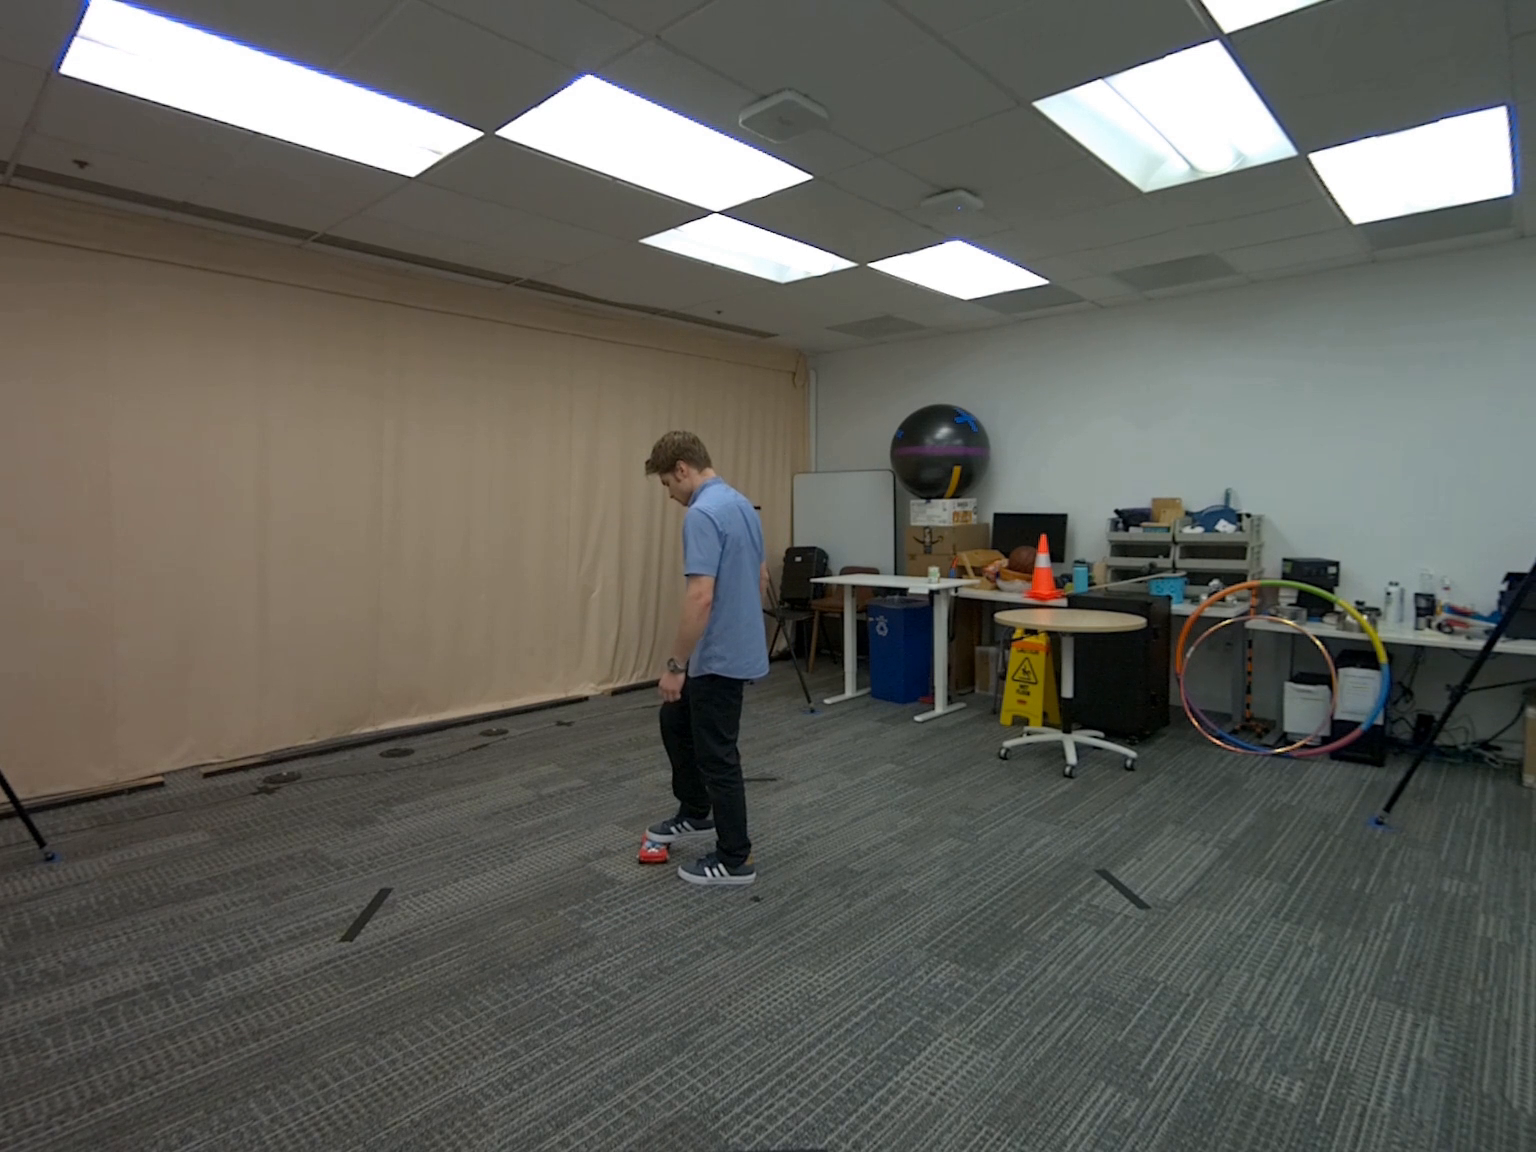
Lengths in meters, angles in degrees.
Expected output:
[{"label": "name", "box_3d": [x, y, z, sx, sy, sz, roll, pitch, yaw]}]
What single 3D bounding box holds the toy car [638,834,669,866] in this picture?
[{"label": "toy car", "box_3d": [-0.469, 1.084, 3.384, 0.130, 0.082, 0.258, -1, 15, -4]}]
